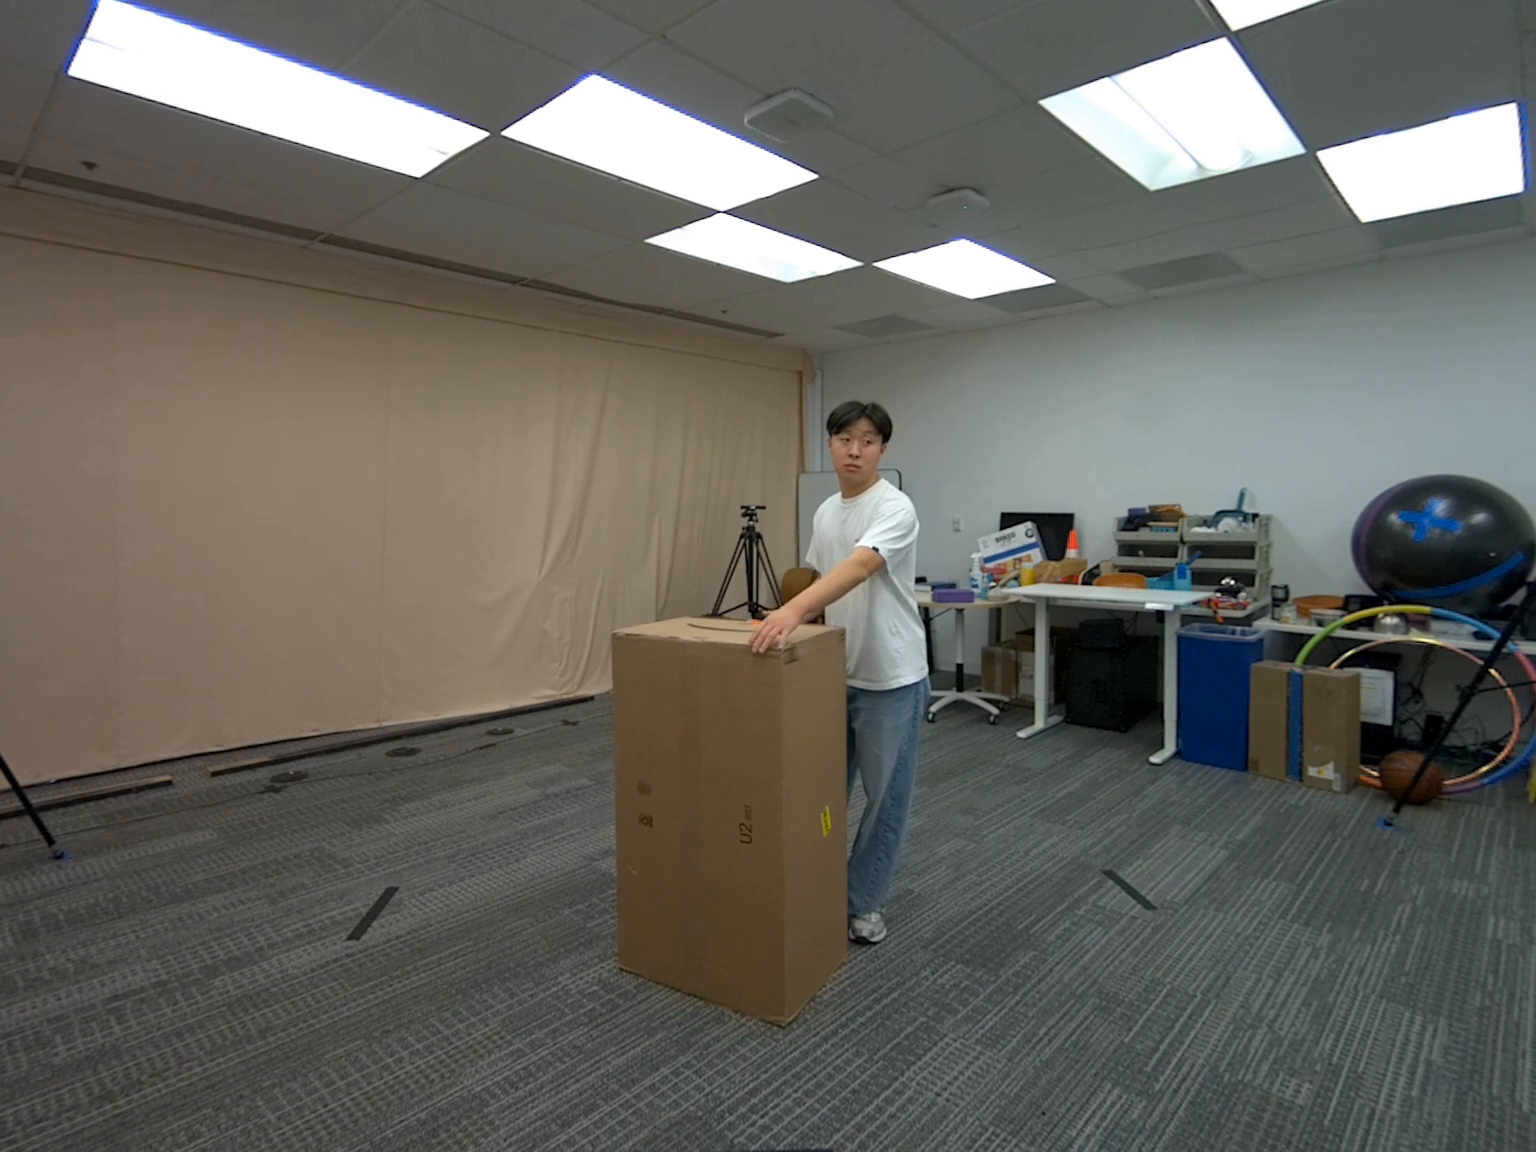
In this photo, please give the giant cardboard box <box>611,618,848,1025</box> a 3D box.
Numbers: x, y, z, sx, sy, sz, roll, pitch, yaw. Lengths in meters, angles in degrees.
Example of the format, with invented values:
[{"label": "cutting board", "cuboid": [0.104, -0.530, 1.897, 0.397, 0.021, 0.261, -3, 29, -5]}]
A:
[{"label": "giant cardboard box", "cuboid": [-0.112, 0.673, 2.539, 0.594, 1.024, 0.414, 1, 3, 31]}]
